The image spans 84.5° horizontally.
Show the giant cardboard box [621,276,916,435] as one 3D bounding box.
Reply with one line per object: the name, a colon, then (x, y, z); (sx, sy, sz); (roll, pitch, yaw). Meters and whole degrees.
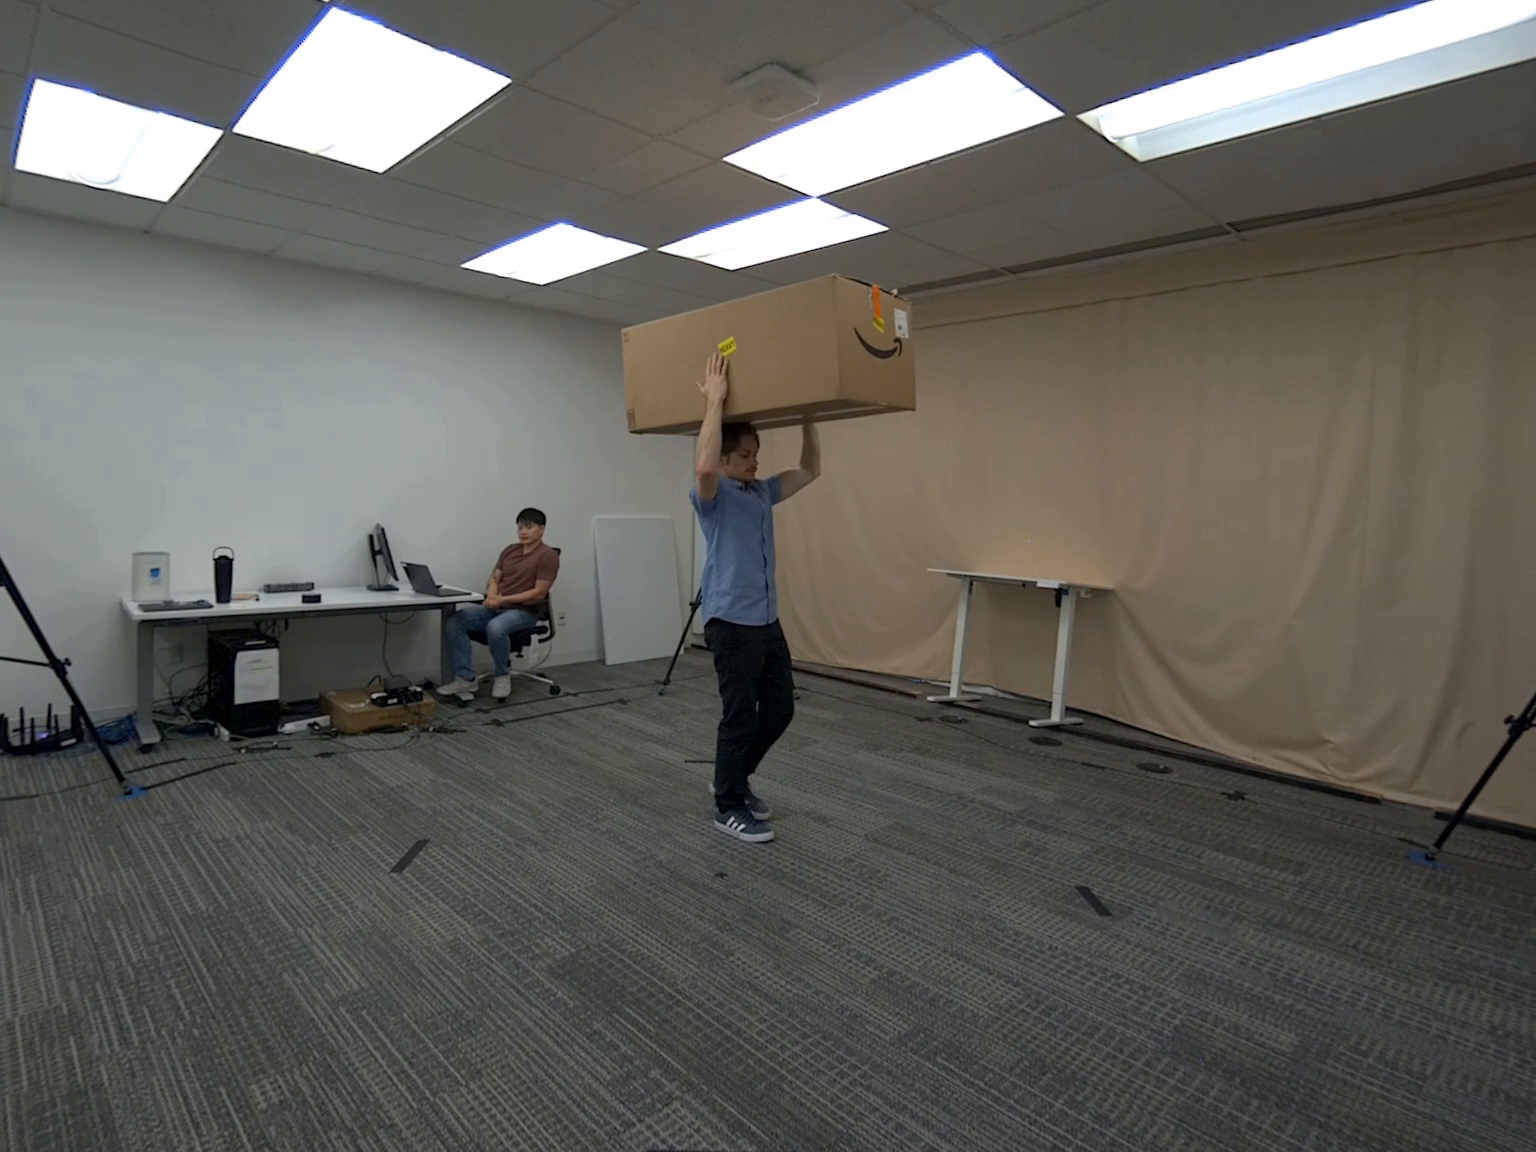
giant cardboard box: (-0.017, -0.827, 3.351); (1.049, 0.425, 0.566); (0, 5, 37)
